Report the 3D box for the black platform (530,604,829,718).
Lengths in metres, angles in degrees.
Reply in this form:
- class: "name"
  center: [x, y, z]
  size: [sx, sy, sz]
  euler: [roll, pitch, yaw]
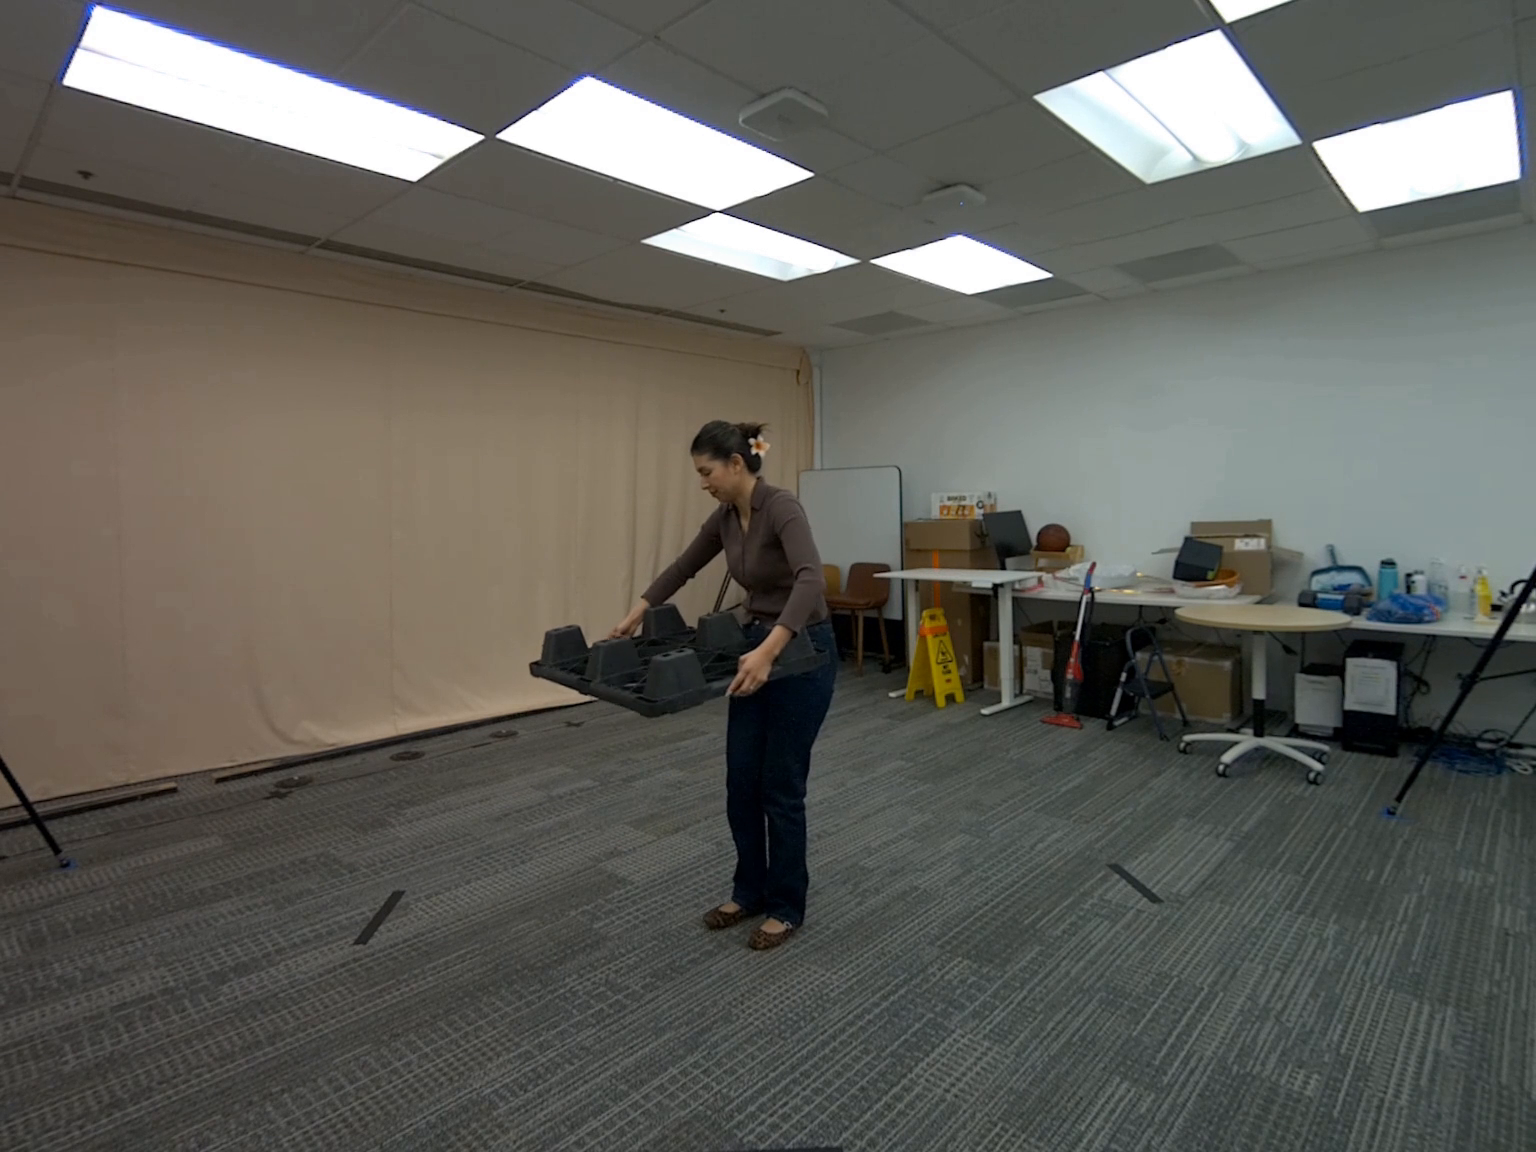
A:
- class: "black platform"
  center: [-0.312, 0.225, 2.550]
  size: [0.589, 0.142, 0.831]
  euler: [-12, 10, -36]
